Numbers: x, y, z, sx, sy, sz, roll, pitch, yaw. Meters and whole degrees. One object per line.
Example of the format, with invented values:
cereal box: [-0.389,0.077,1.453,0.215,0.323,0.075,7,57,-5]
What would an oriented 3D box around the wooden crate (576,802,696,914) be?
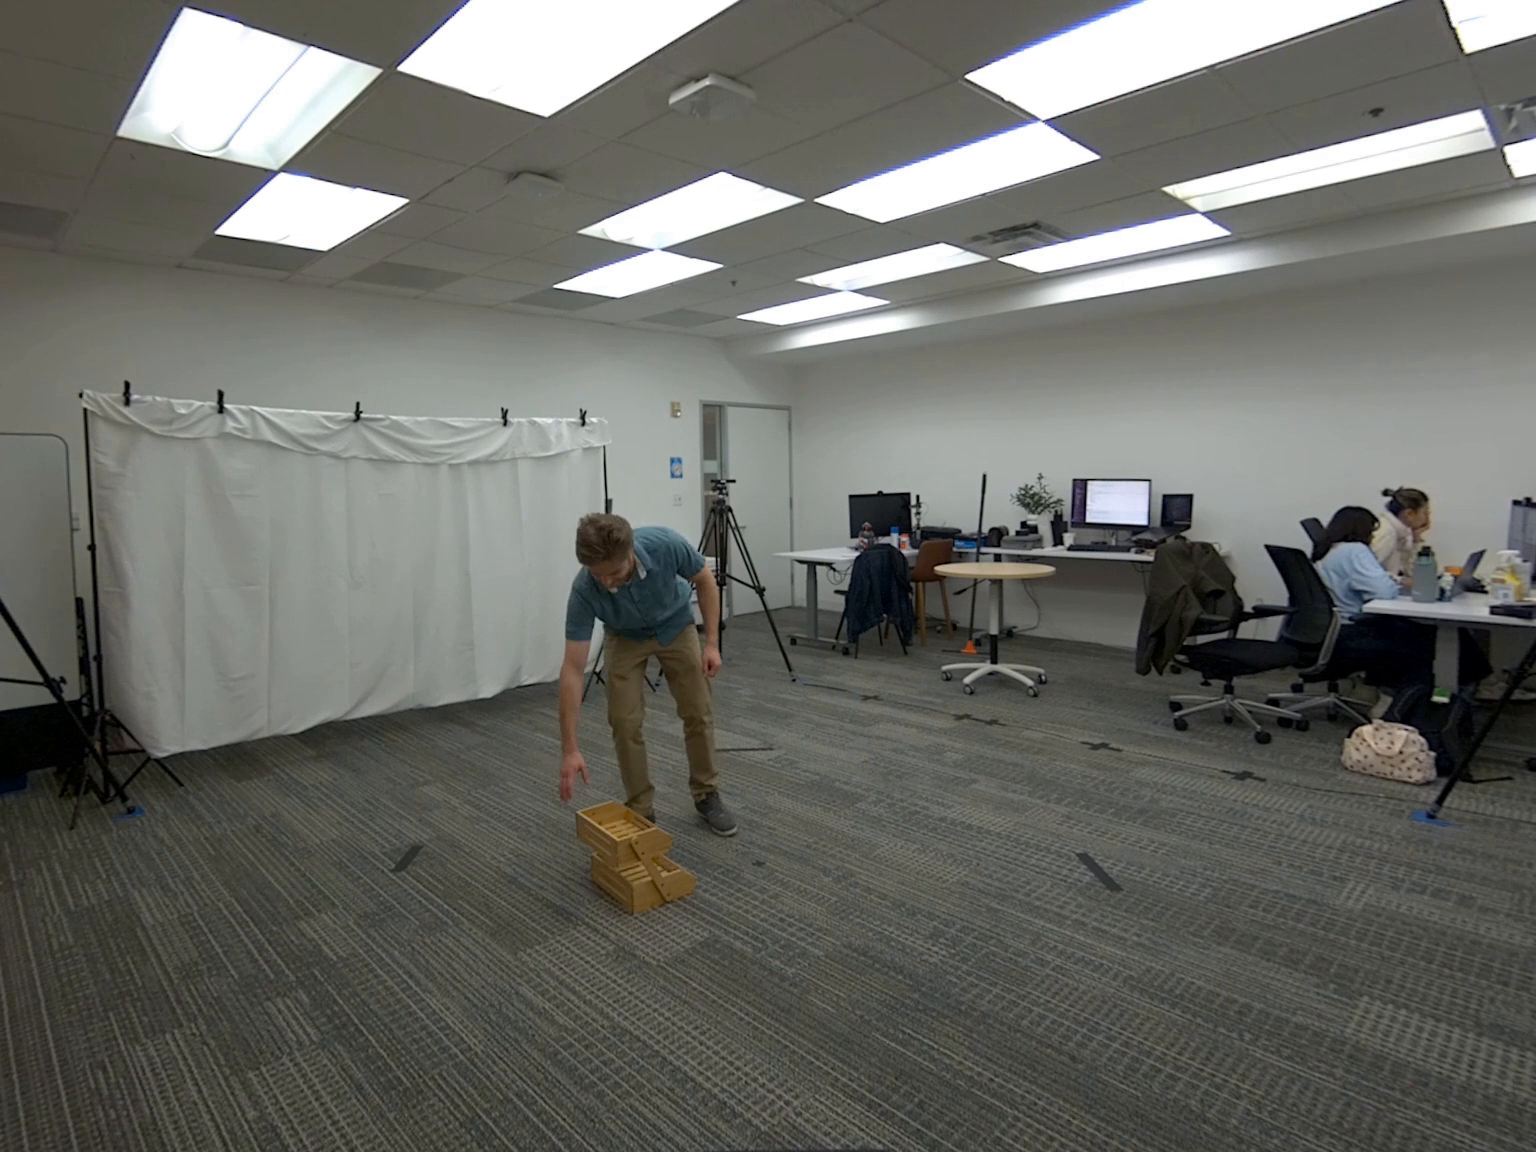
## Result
wooden crate: [-0.454,0.947,2.923,0.294,0.272,0.334,-6,8,-37]
